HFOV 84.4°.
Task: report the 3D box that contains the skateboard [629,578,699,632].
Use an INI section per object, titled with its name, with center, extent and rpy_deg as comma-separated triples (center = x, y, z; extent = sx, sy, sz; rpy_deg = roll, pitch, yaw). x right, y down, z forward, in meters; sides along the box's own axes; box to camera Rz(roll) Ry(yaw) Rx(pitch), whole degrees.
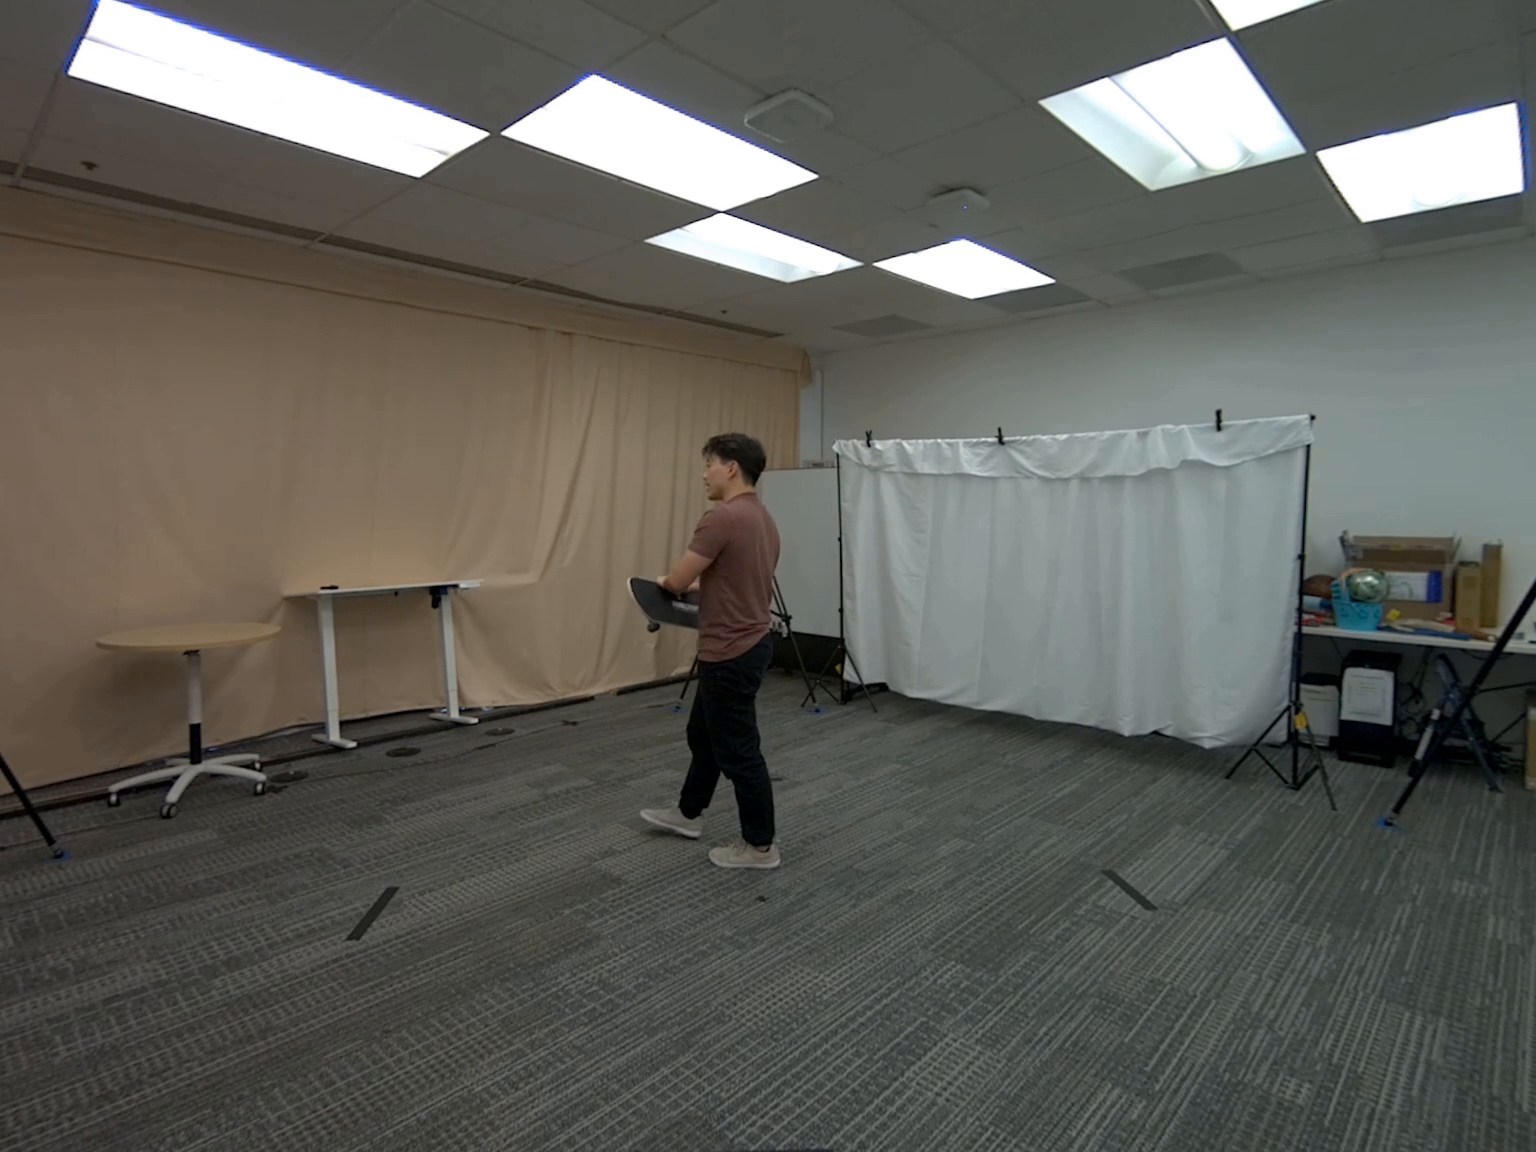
[skateboard]
center = -0.360, 0.149, 3.448
extent = 0.112, 0.197, 0.759
rpy_deg = -32, -24, 22
